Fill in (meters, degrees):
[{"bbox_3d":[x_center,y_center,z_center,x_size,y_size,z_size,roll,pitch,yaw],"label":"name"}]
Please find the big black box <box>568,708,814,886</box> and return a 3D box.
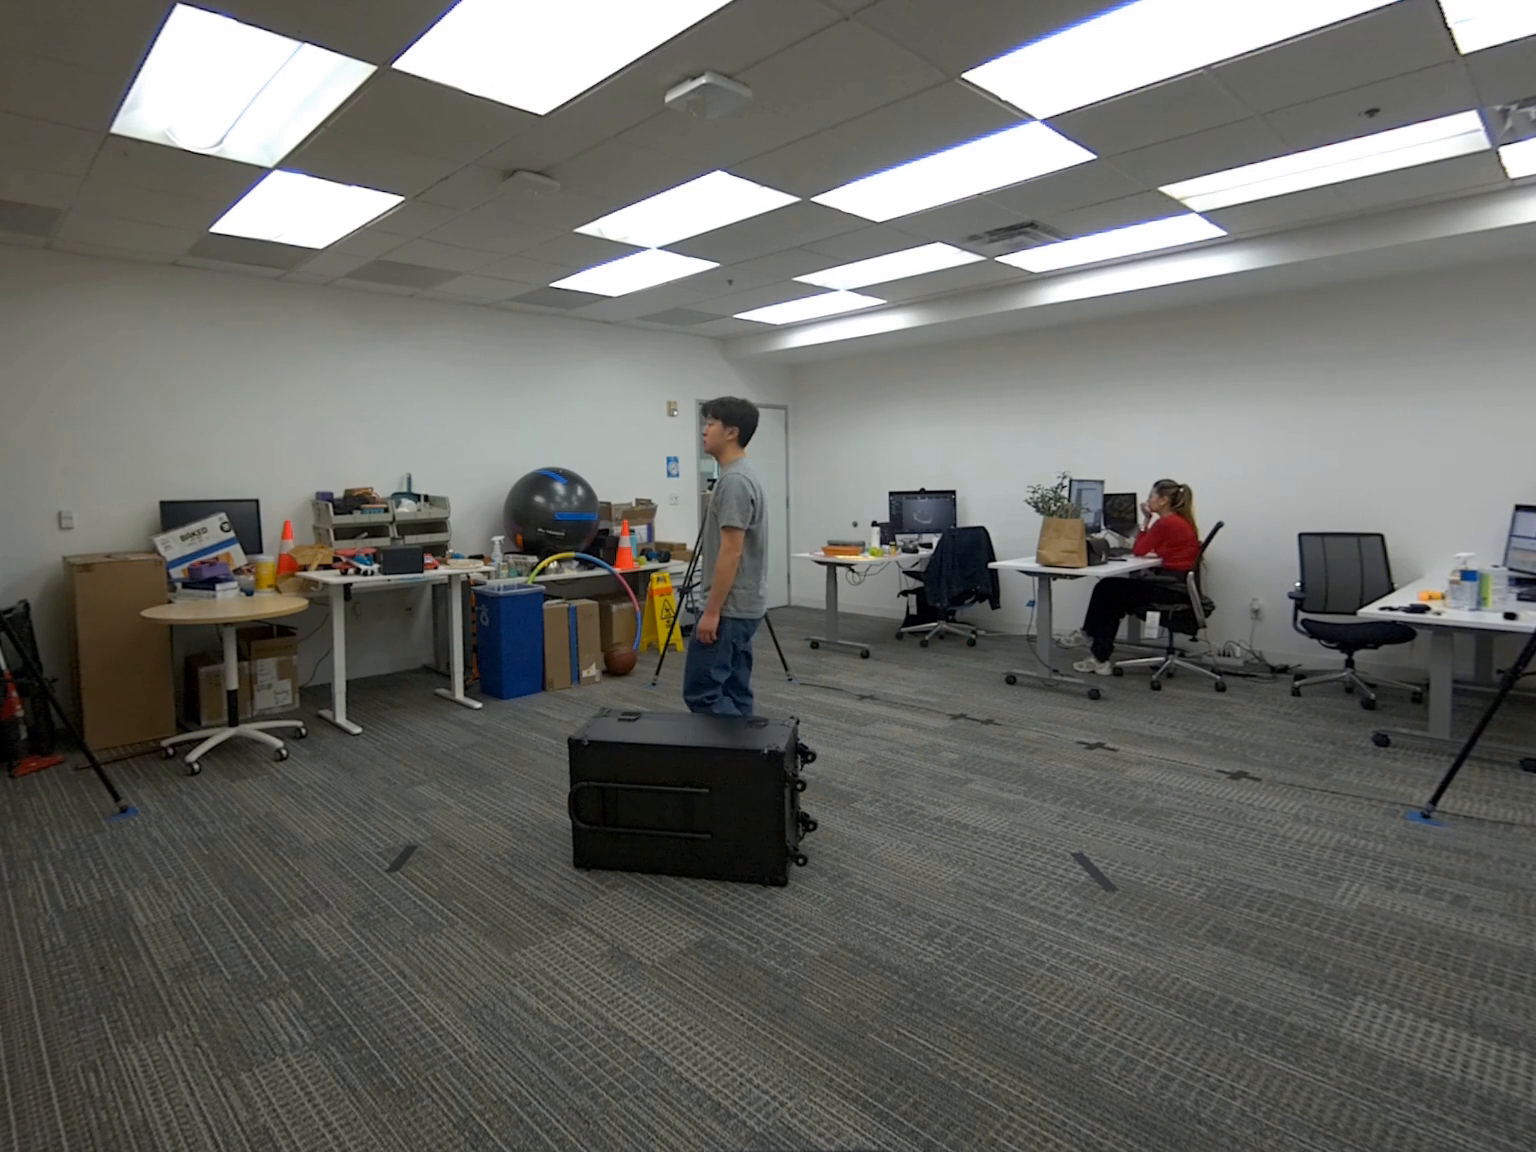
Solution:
[{"bbox_3d":[-0.323,0.791,3.147,0.873,0.519,0.393,0,6,13],"label":"big black box"}]
